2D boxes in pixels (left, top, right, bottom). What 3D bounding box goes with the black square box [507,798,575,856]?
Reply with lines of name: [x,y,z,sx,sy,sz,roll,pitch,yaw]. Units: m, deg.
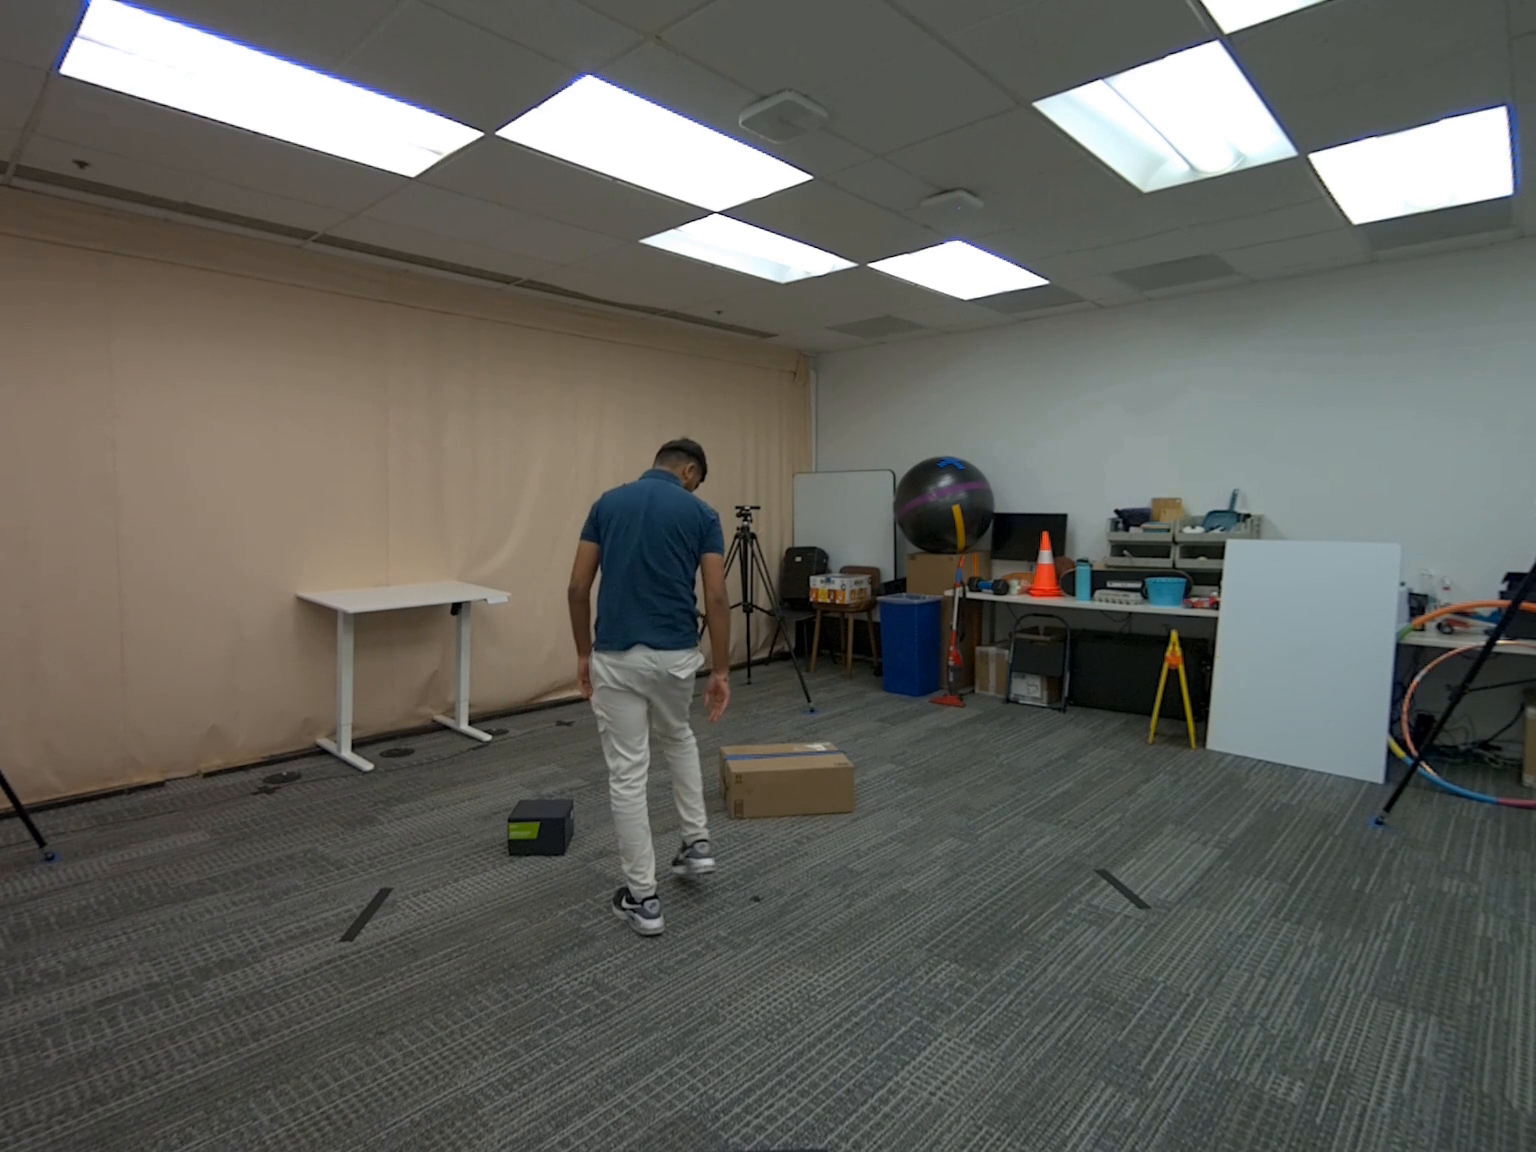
black square box: [-0.933,1.024,3.468,0.228,0.155,0.218,0,5,-2]
